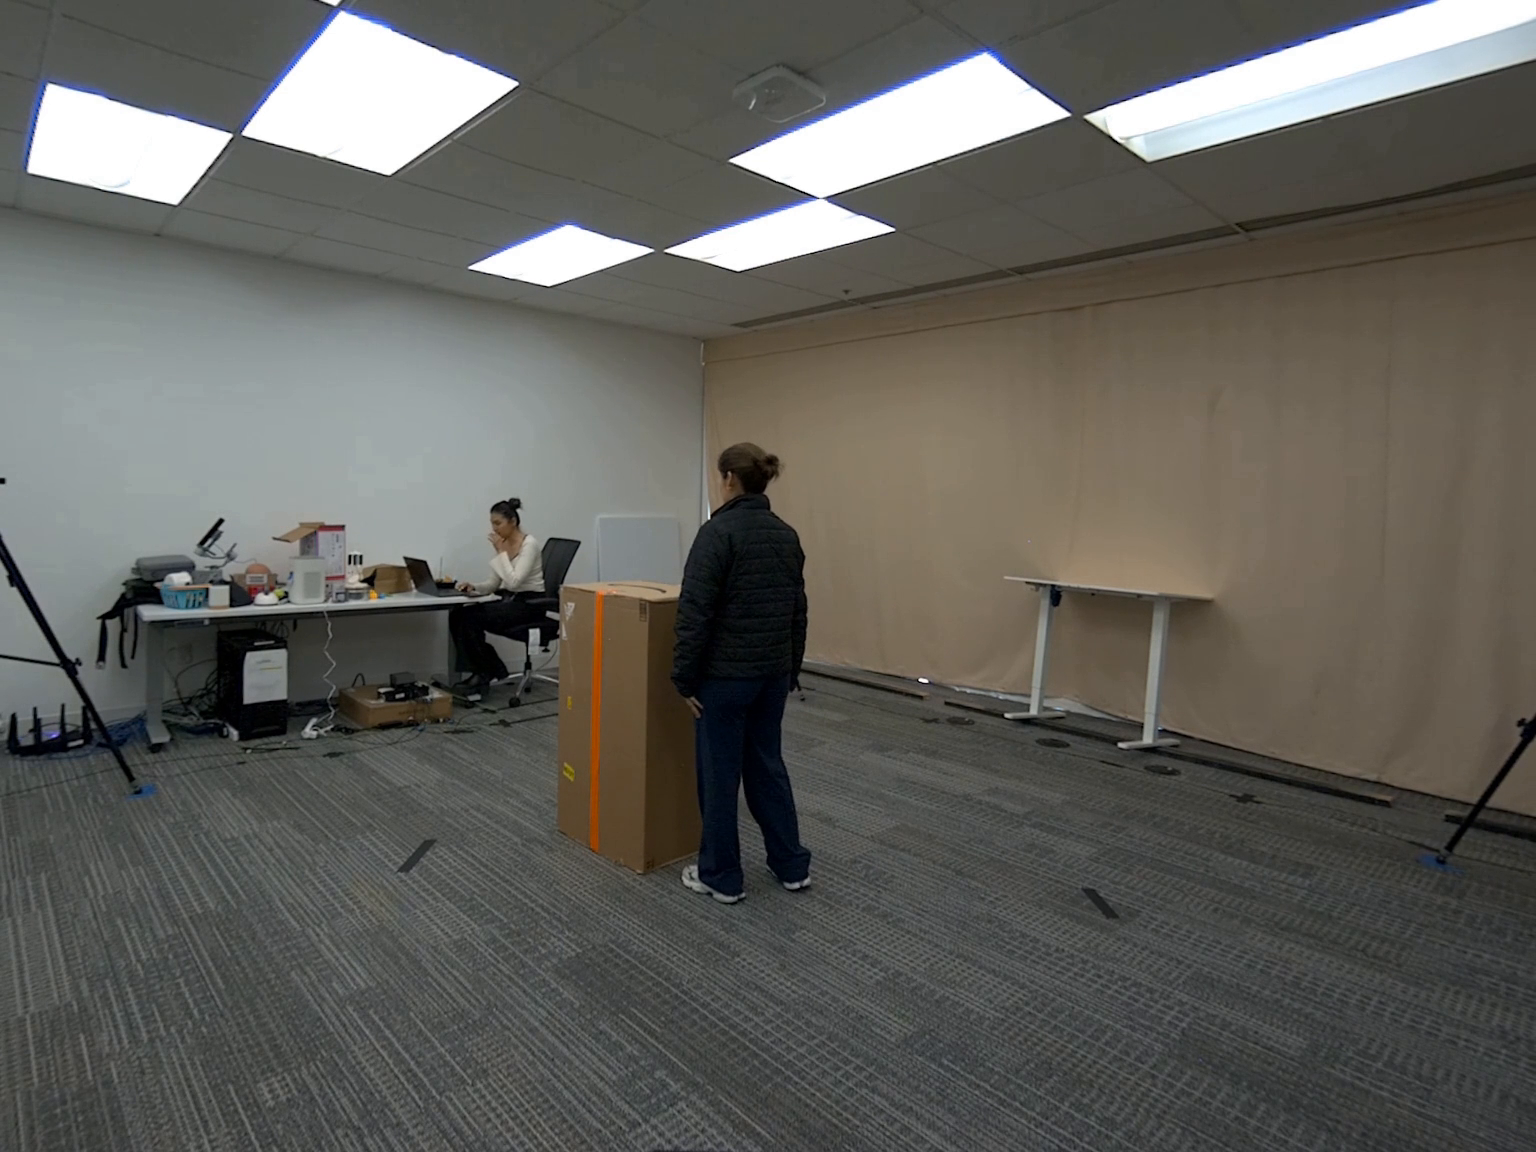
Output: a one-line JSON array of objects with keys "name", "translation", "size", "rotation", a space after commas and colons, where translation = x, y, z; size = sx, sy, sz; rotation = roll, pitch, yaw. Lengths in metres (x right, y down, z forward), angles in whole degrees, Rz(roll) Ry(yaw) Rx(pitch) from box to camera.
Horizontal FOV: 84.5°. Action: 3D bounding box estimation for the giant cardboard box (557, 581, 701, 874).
[{"name": "giant cardboard box", "translation": [-0.523, 0.564, 3.401], "size": [0.592, 1.023, 0.416], "rotation": [5, 5, 44]}]
